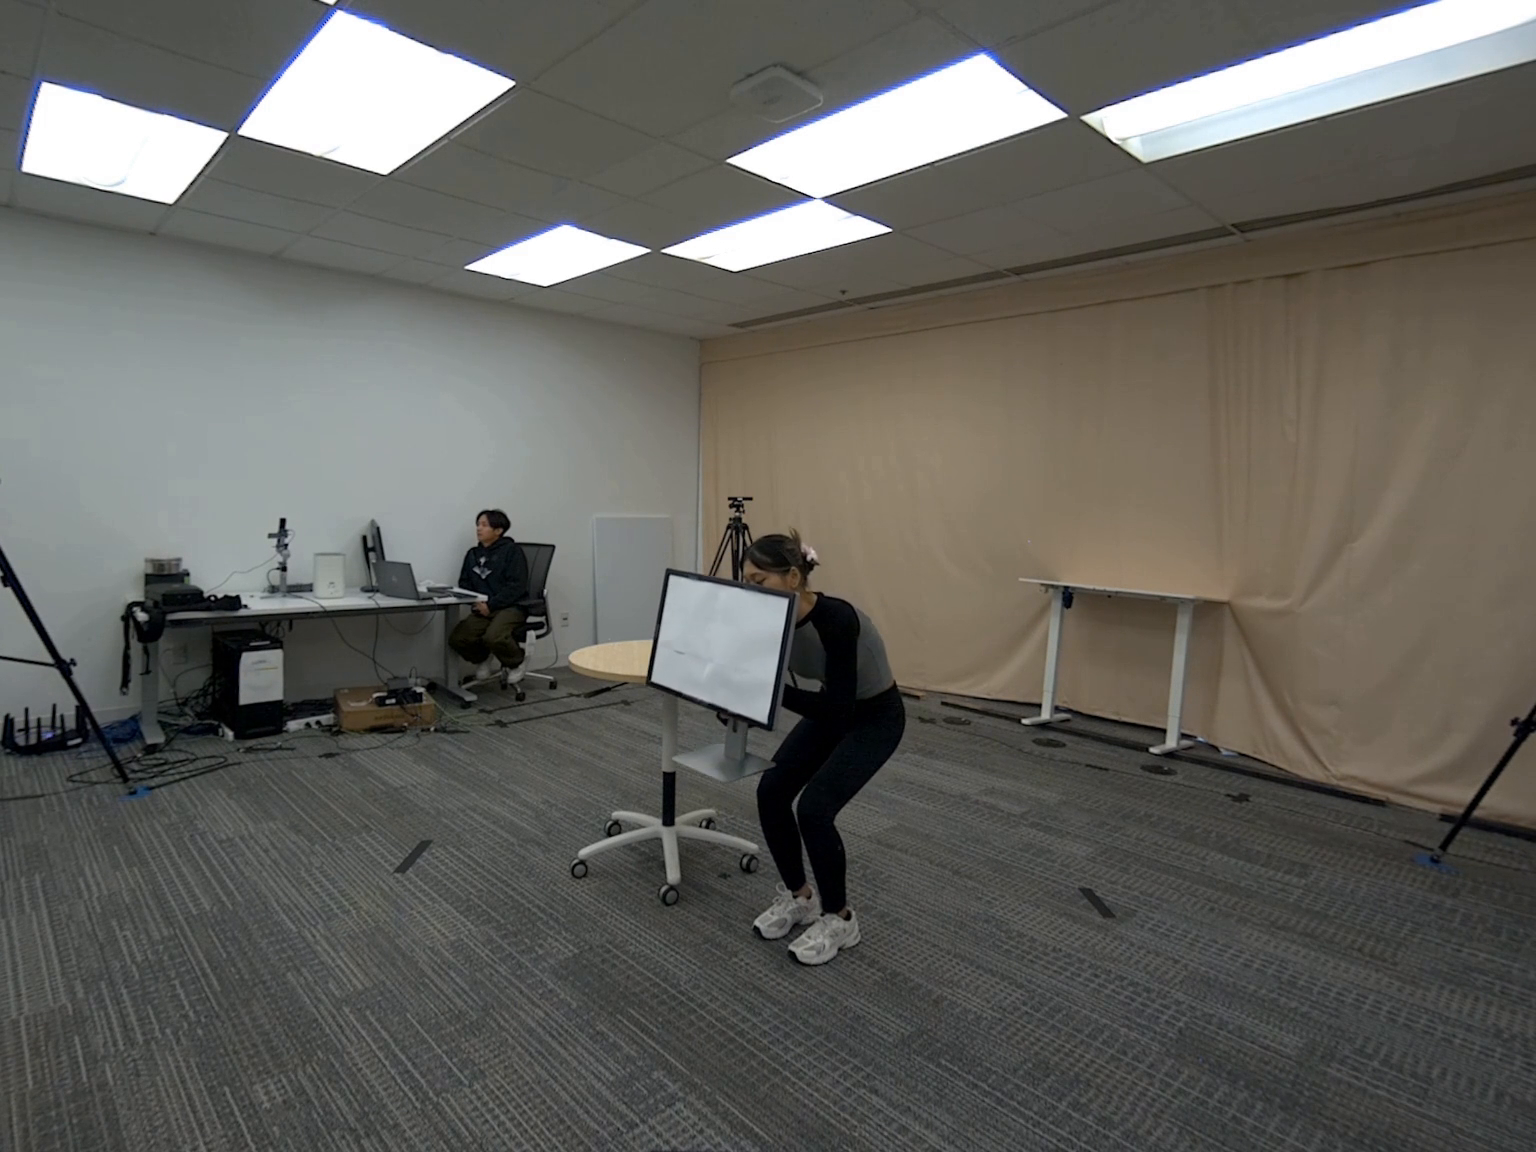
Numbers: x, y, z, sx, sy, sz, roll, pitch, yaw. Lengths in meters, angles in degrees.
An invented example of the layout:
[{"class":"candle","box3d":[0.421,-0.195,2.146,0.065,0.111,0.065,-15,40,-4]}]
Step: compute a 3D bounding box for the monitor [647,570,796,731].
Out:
[{"class":"monitor","box3d":[-0.124,0.280,2.404,0.183,0.520,0.553,-6,10,-43]}]
